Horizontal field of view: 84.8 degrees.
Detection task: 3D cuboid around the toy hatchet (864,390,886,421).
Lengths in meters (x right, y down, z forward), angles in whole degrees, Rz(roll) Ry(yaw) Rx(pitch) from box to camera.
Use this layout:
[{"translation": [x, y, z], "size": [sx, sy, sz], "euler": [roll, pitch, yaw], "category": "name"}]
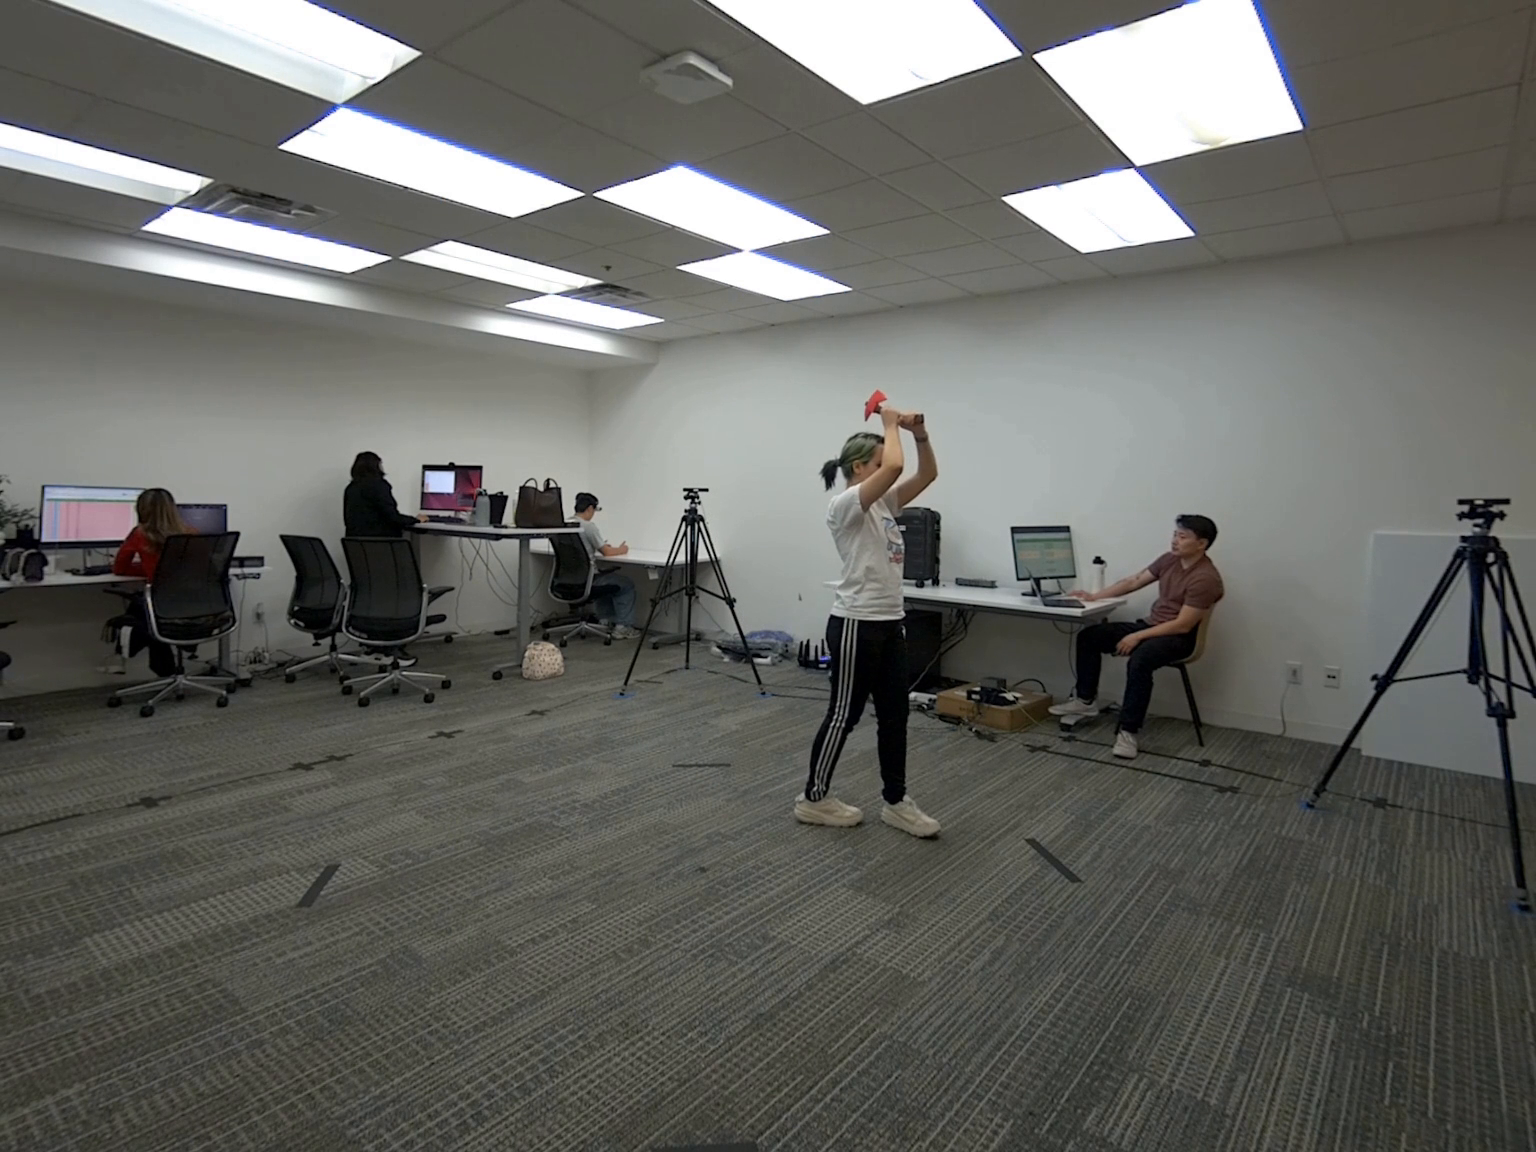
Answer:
[{"translation": [0.505, -0.691, 3.432], "size": [0.280, 0.130, 0.029], "euler": [10, 6, 37], "category": "toy hatchet"}]
